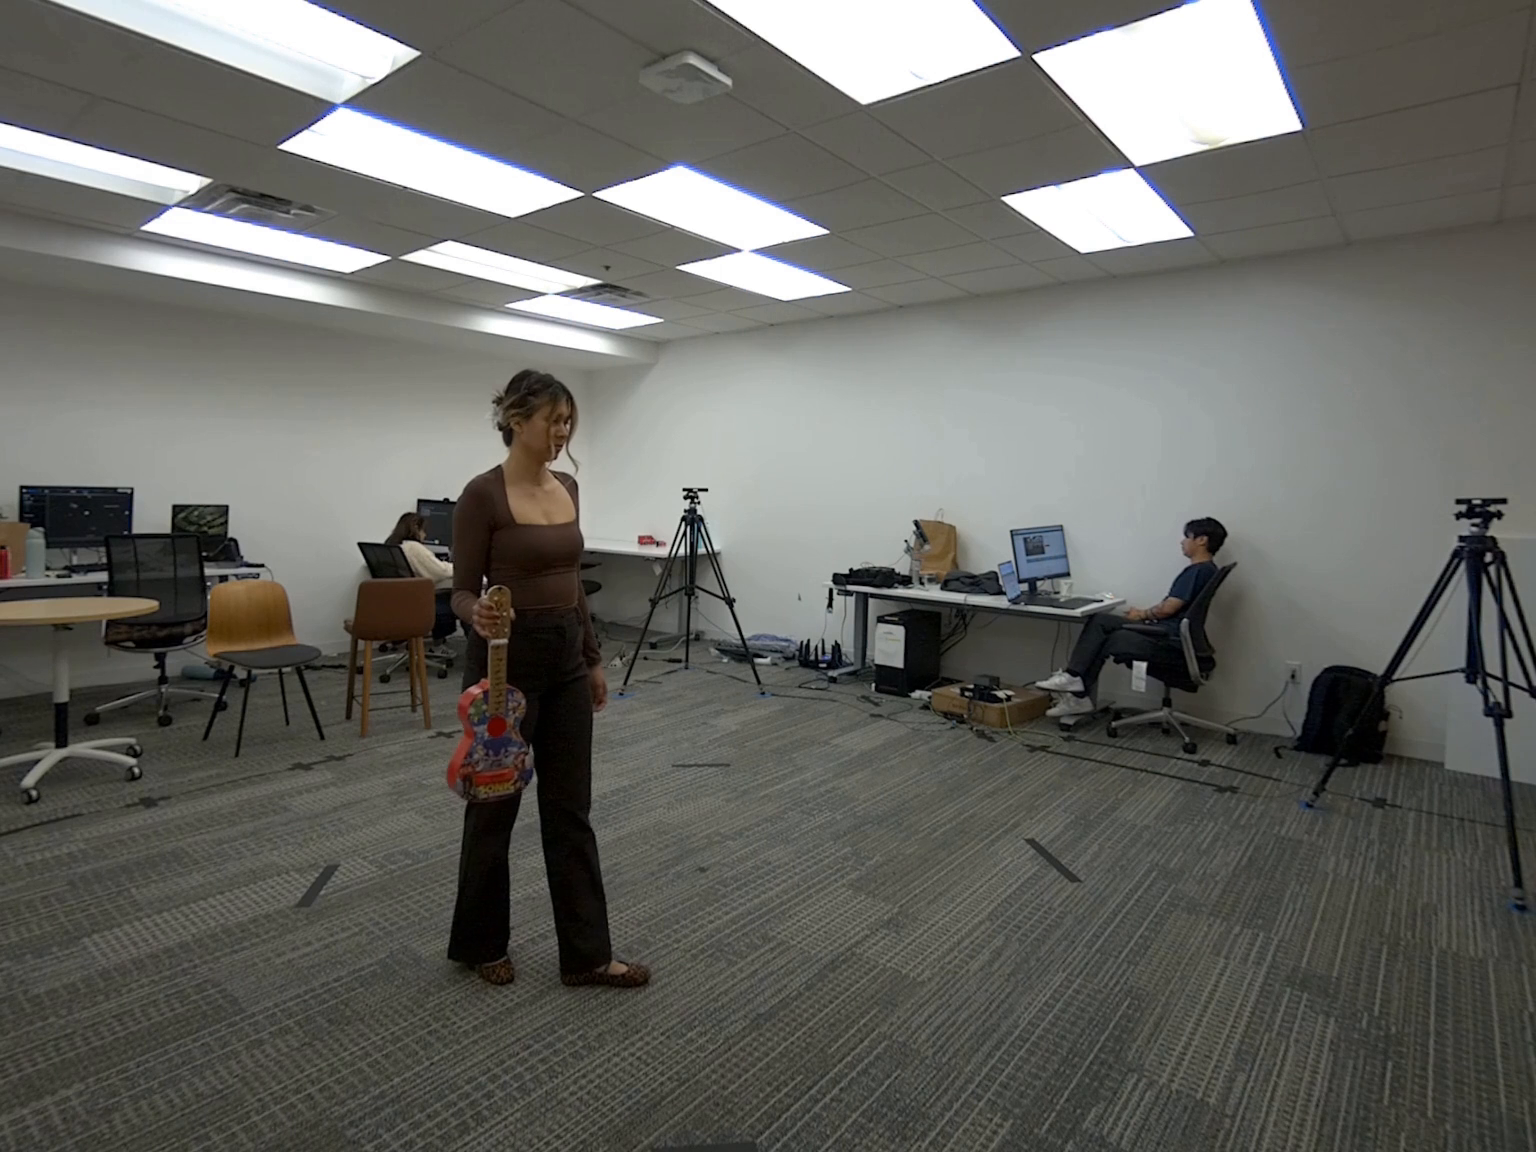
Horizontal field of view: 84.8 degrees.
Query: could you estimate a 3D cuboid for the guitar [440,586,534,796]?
[{"bbox_3d":[-0.631,0.268,2.025,0.186,0.499,0.073,14,-5,-40],"label":"guitar"}]
